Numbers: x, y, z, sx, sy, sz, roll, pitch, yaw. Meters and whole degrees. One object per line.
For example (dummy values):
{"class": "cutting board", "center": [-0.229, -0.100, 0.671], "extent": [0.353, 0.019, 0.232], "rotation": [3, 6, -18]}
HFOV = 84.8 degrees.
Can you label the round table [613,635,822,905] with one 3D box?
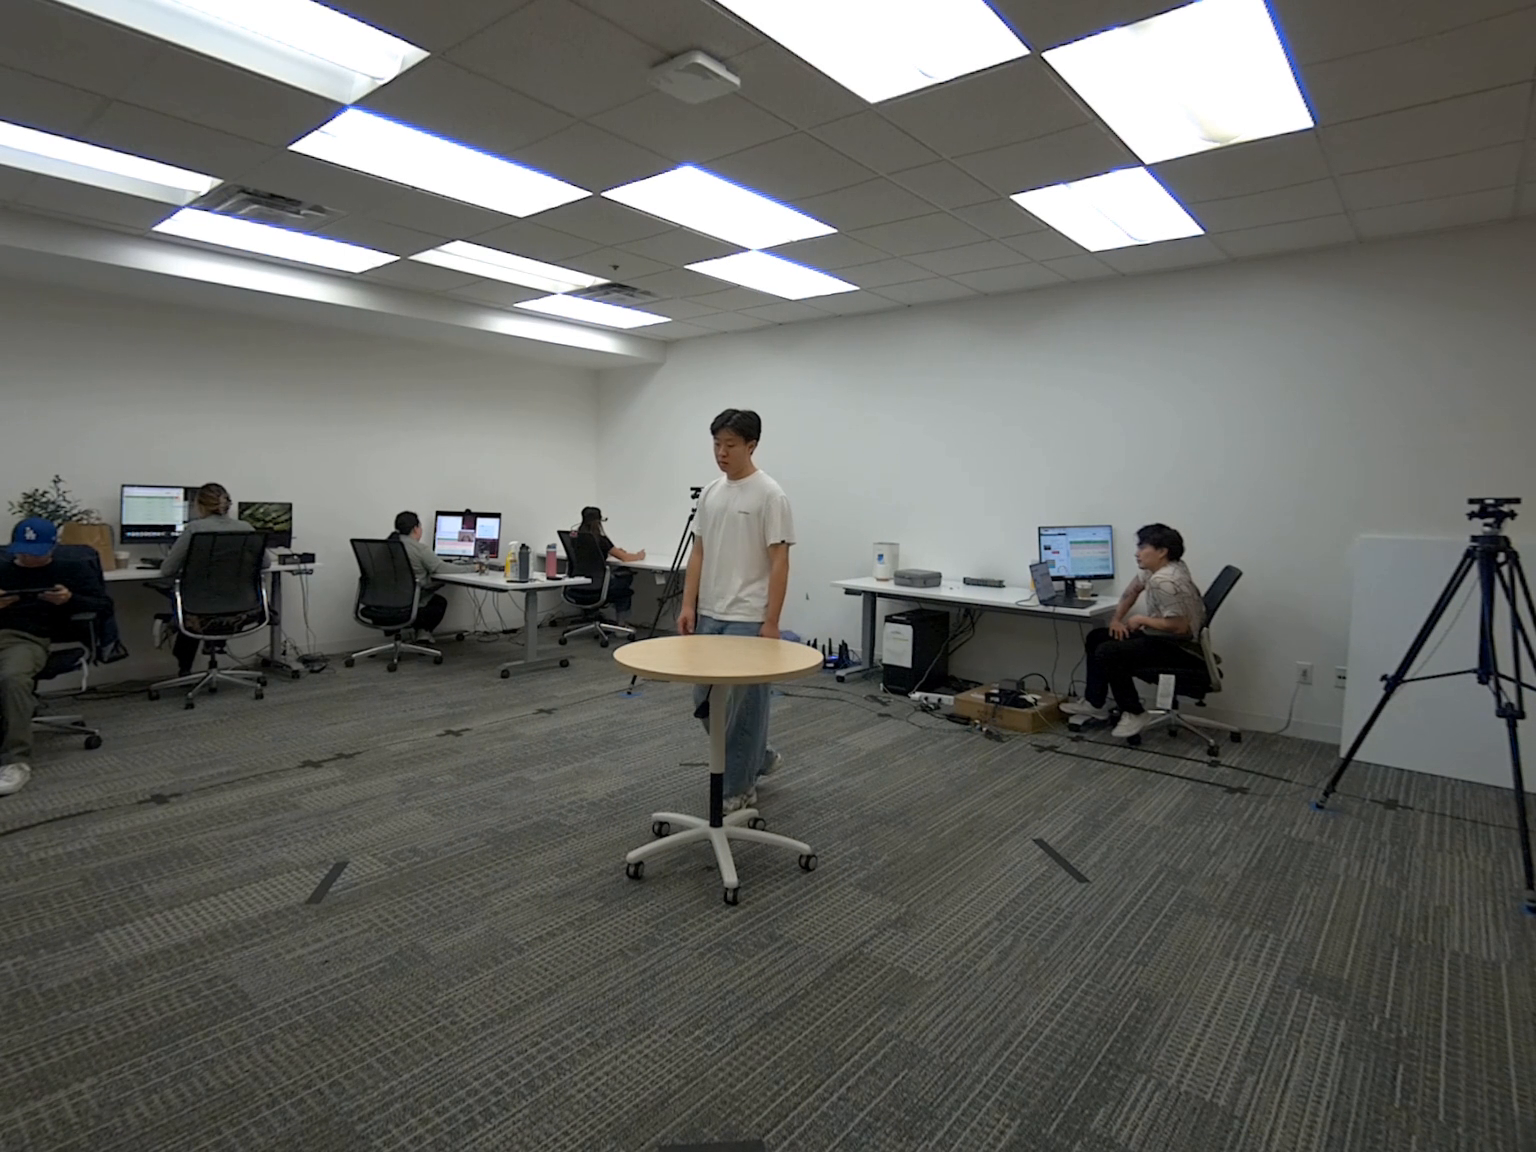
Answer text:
{"class": "round table", "center": [-0.201, 0.673, 3.137], "extent": [0.763, 0.792, 0.767], "rotation": [1, 4, -2]}
